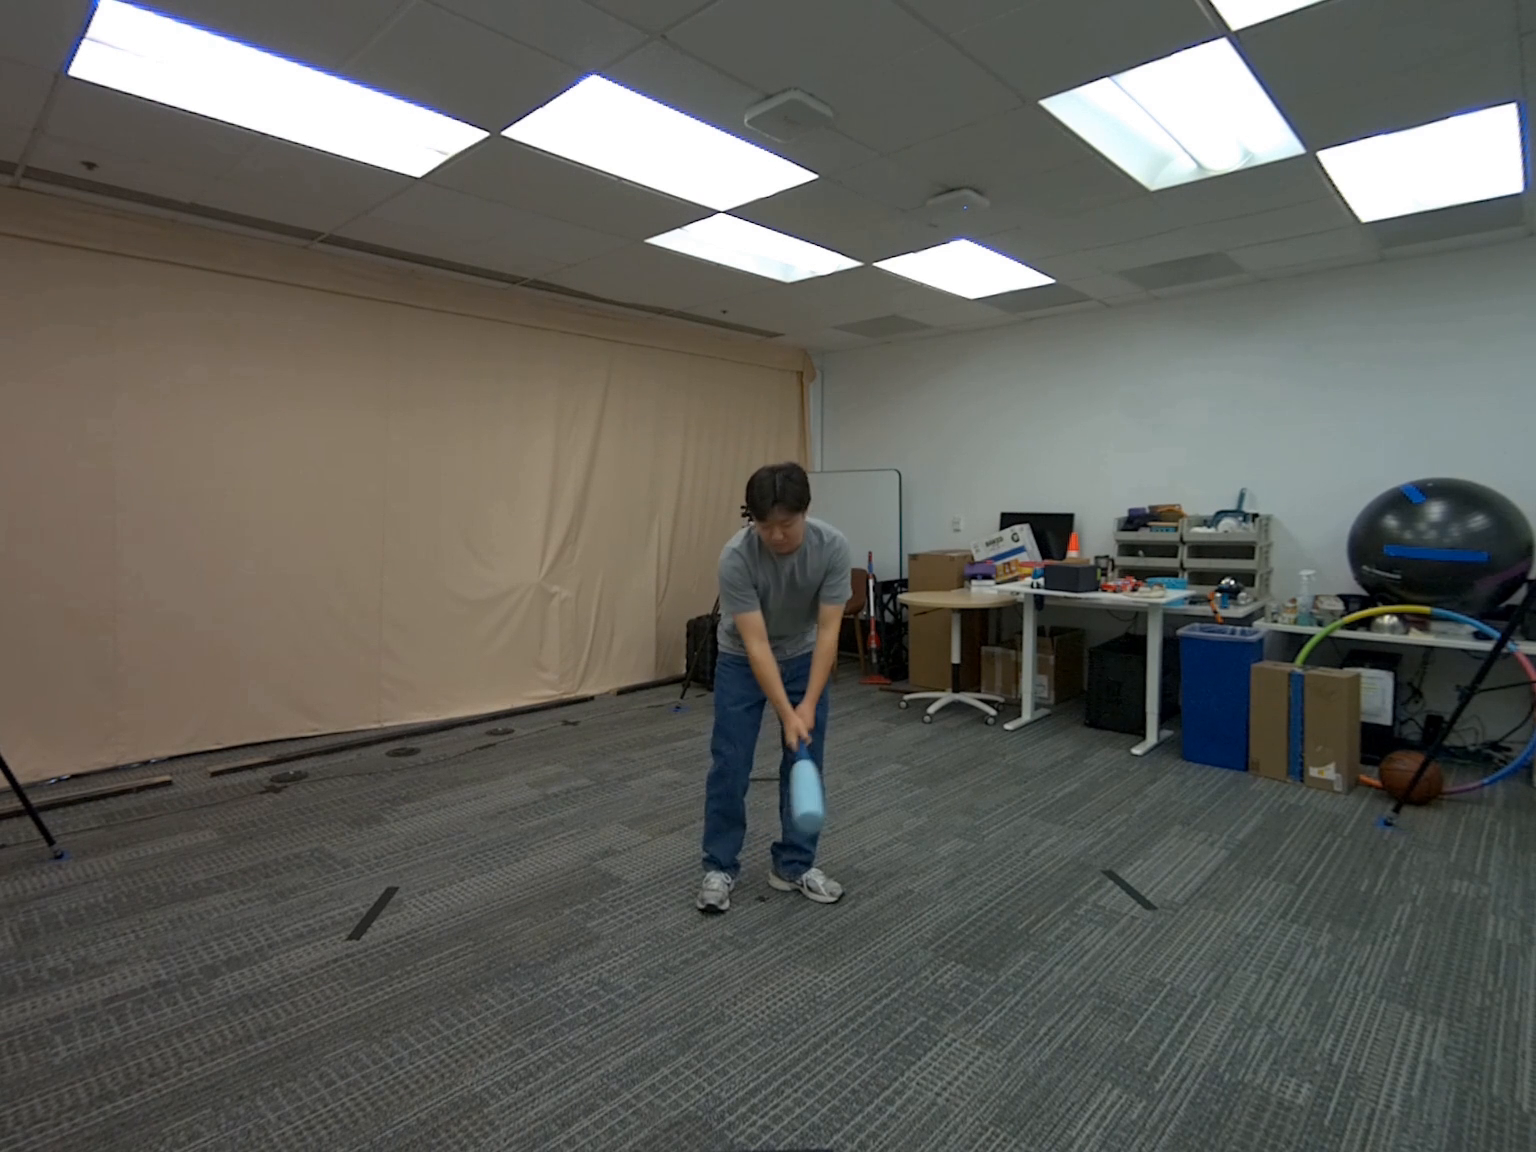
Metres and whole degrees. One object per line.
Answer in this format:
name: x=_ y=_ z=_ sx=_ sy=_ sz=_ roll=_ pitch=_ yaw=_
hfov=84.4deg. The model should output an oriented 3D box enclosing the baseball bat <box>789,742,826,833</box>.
baseball bat: x=0.137 y=0.554 z=2.591 sx=0.089 sy=0.088 sz=0.548 roll=0 pitch=20 yaw=0
